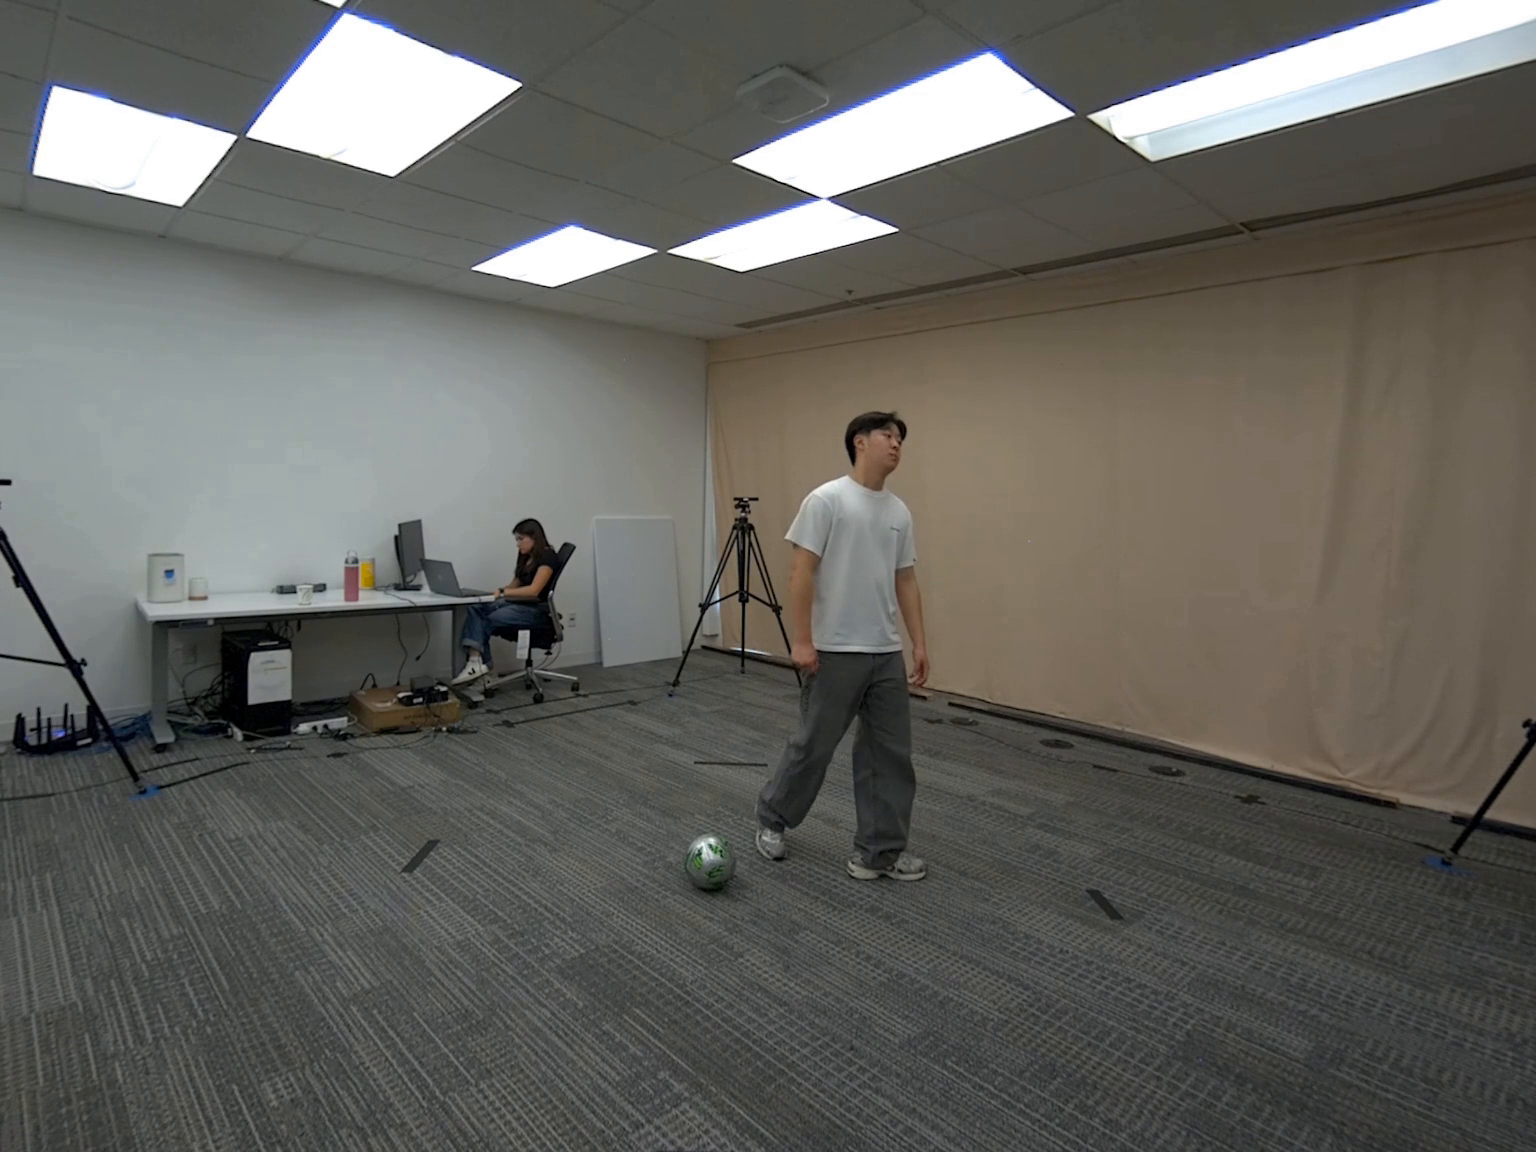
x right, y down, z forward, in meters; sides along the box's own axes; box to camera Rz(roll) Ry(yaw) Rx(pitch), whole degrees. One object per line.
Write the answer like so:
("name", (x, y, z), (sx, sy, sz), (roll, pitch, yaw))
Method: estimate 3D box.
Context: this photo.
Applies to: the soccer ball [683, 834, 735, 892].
("soccer ball", (-0.214, 1.022, 3.009), (0.187, 0.187, 0.188), (1, 4, -1))
